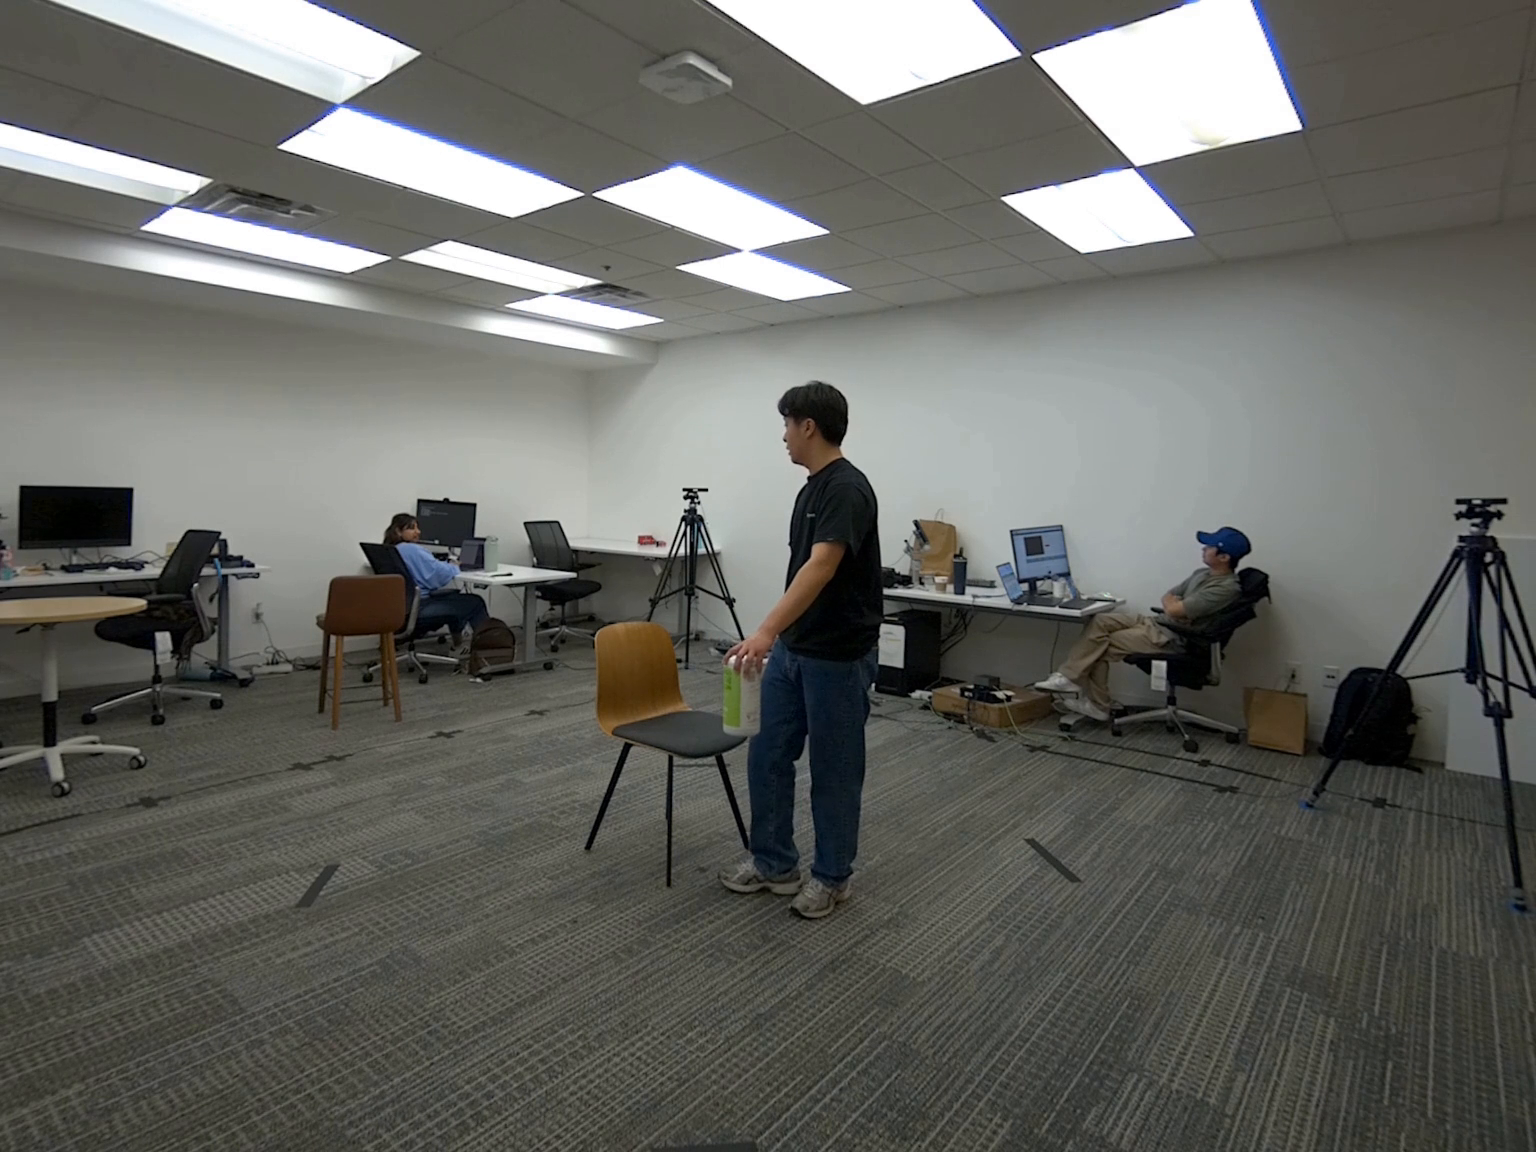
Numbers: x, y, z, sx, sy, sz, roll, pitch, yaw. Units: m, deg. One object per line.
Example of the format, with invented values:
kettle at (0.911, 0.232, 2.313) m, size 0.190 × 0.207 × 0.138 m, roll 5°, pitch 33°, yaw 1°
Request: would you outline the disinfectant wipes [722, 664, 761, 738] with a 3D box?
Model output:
disinfectant wipes at (-0.089, 0.338, 2.463) m, size 0.118 × 0.217 × 0.118 m, roll 1°, pitch 3°, yaw -2°
